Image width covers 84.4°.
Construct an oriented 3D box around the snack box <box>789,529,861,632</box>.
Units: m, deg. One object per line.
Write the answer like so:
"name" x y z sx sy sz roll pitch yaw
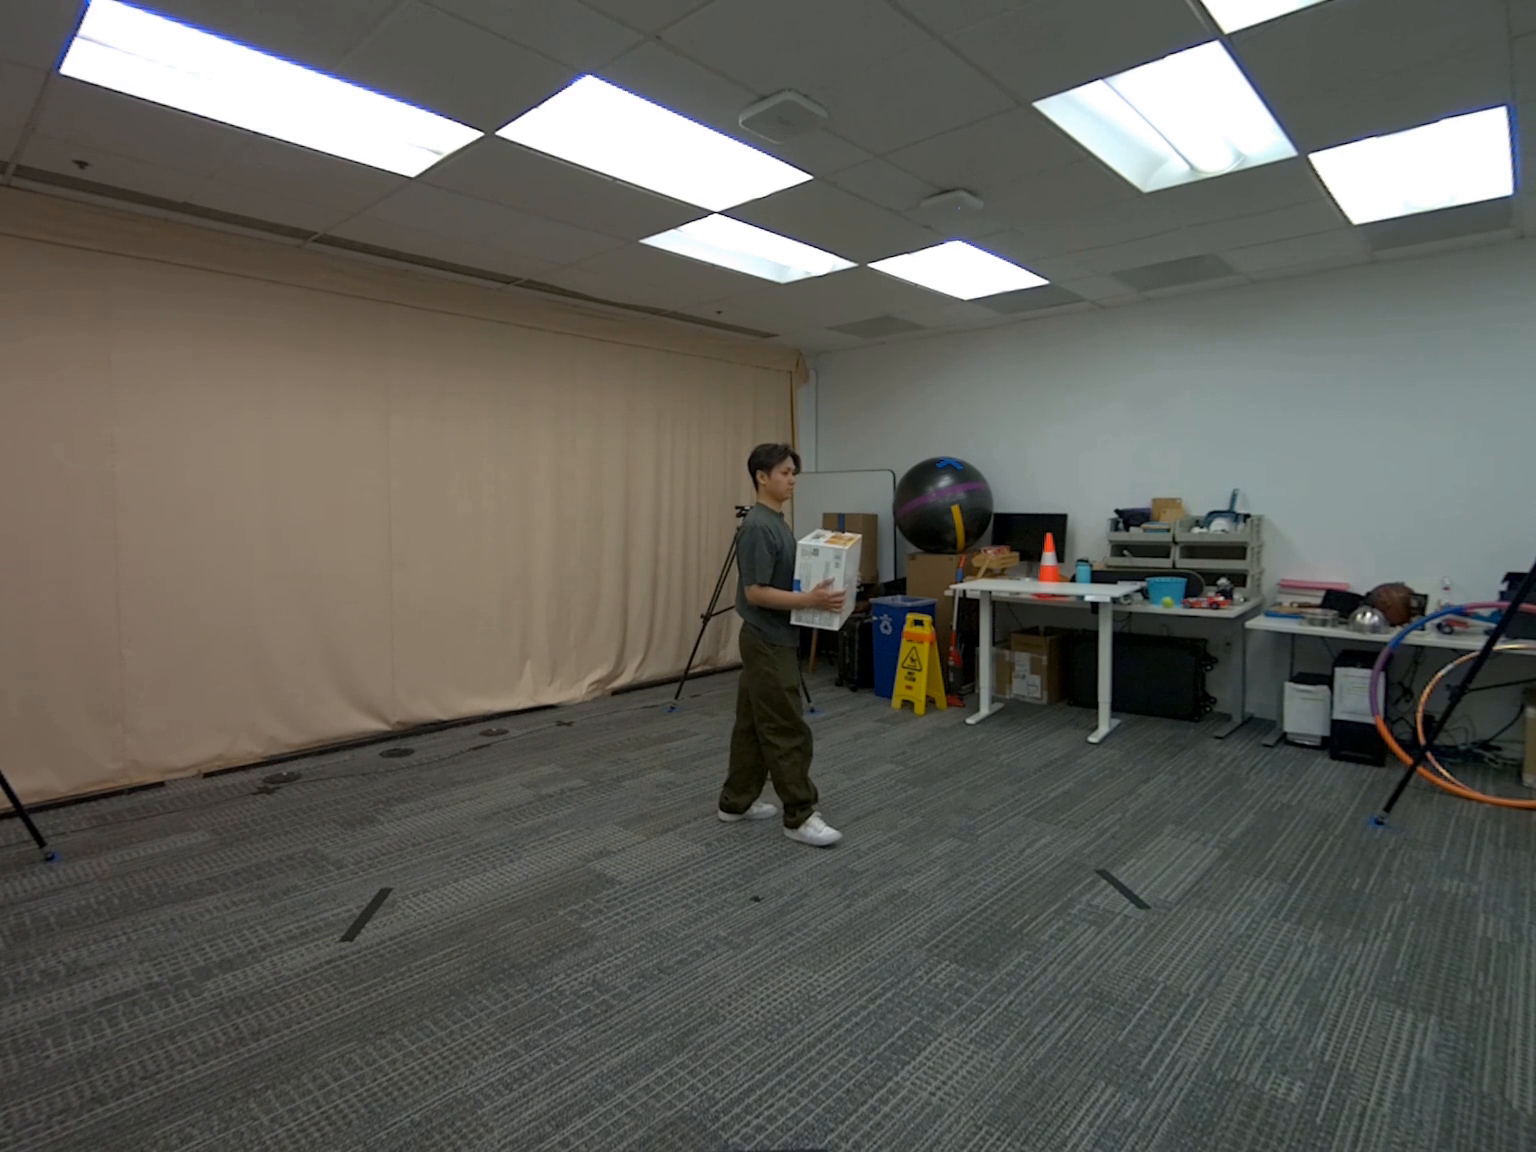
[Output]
"snack box" 0.254 0.005 3.555 0.210 0.338 0.400 8 12 16
